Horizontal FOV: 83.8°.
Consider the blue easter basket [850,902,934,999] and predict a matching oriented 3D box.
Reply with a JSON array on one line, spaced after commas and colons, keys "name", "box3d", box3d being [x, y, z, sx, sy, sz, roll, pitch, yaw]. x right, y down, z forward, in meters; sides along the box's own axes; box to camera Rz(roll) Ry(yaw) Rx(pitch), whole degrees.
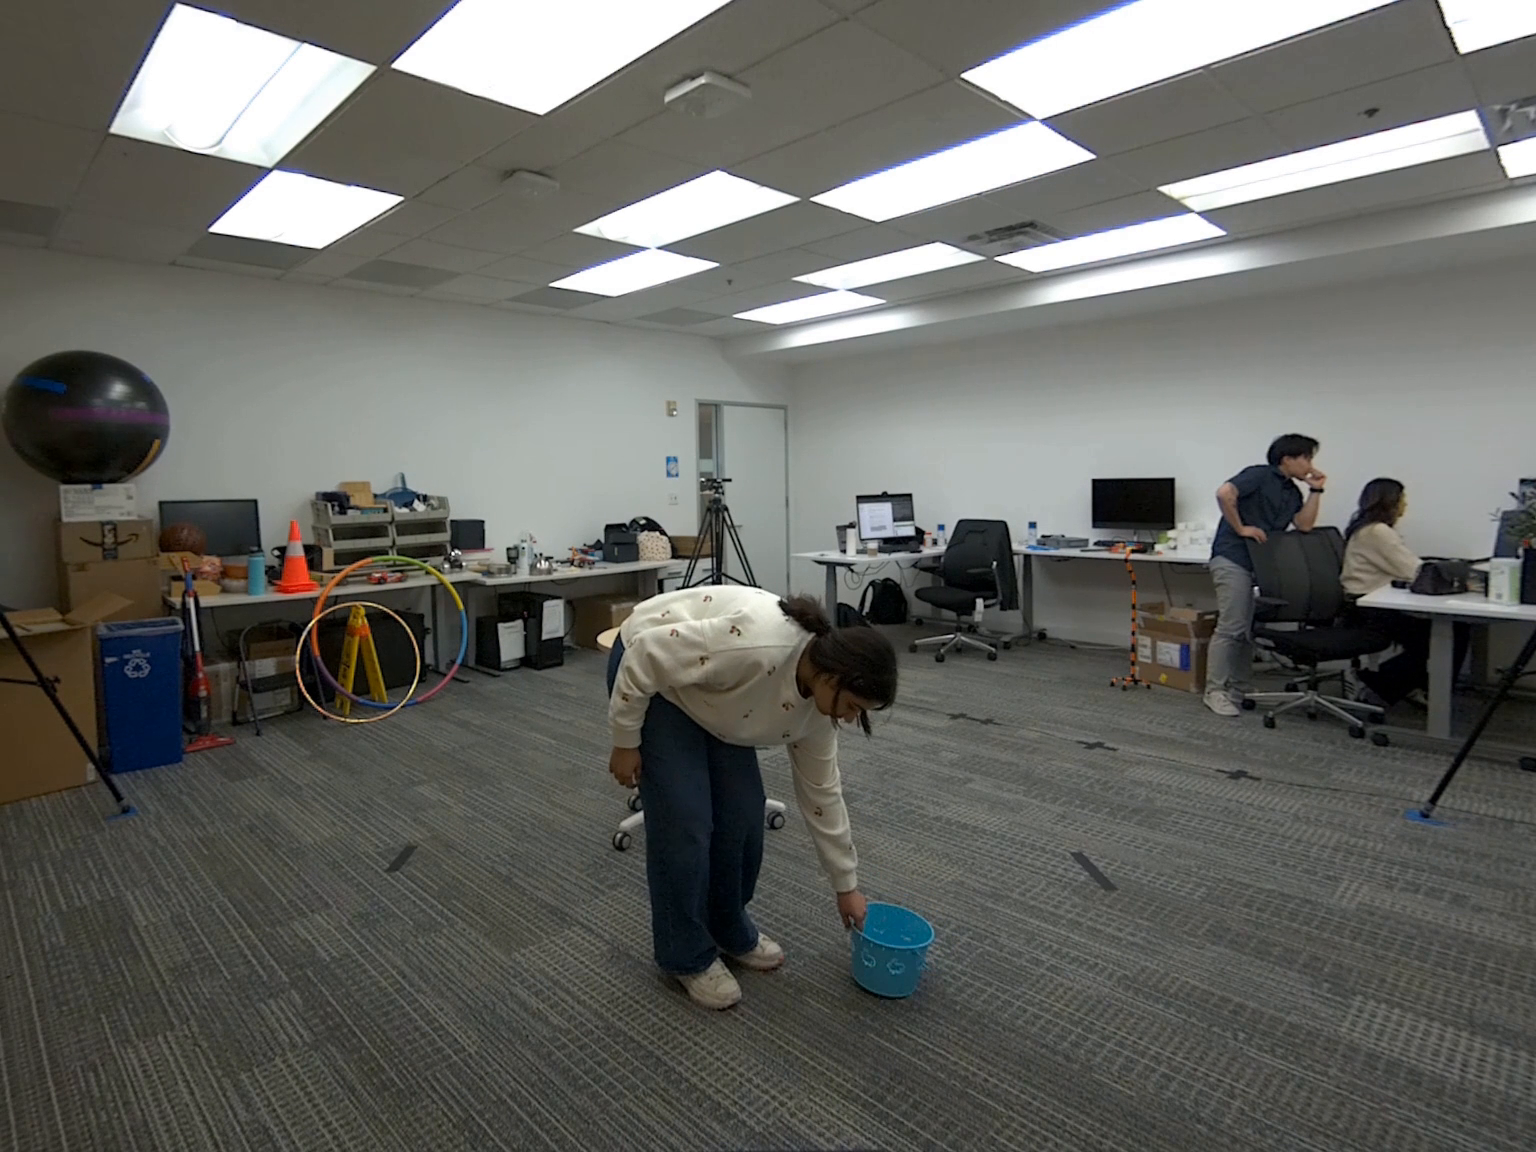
[{"name": "blue easter basket", "box3d": [0.339, 1.037, 2.356, 0.243, 0.155, 0.245, 6, 7, -2]}]
